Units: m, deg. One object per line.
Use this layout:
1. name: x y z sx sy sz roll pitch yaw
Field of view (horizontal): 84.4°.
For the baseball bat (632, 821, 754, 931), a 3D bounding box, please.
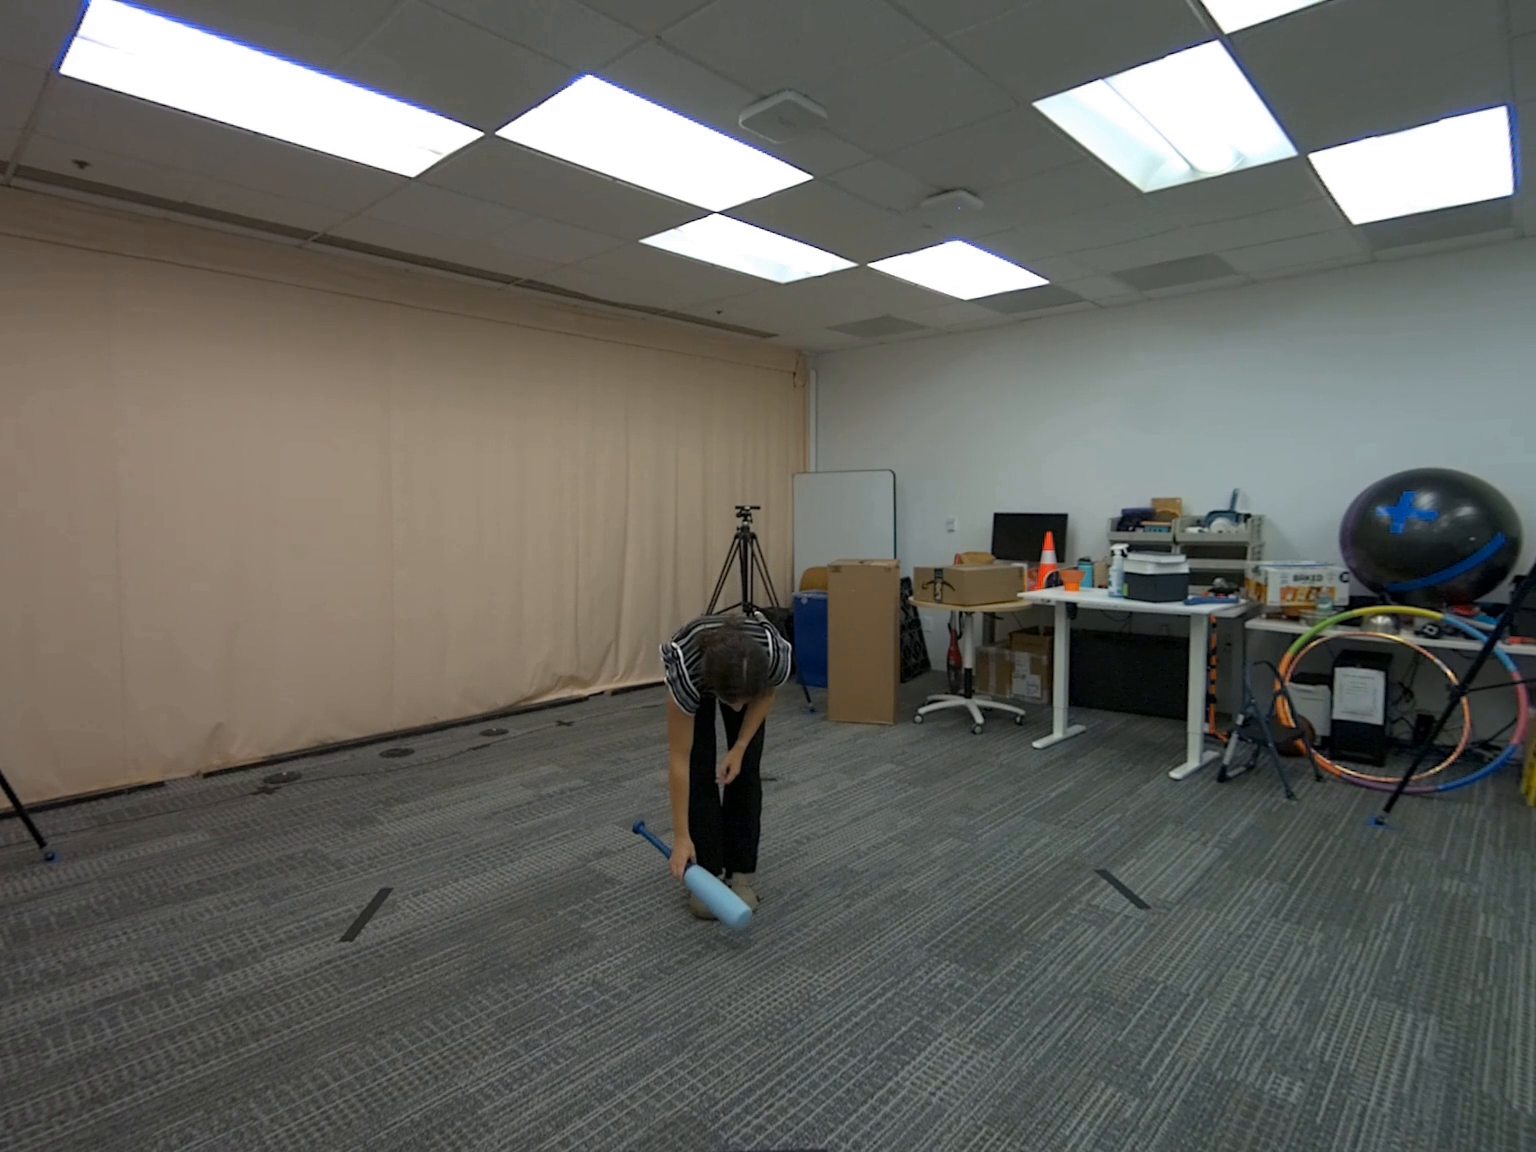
1. baseball bat: -0.247 0.957 2.740 0.086 0.088 0.563 -4 22 -45
